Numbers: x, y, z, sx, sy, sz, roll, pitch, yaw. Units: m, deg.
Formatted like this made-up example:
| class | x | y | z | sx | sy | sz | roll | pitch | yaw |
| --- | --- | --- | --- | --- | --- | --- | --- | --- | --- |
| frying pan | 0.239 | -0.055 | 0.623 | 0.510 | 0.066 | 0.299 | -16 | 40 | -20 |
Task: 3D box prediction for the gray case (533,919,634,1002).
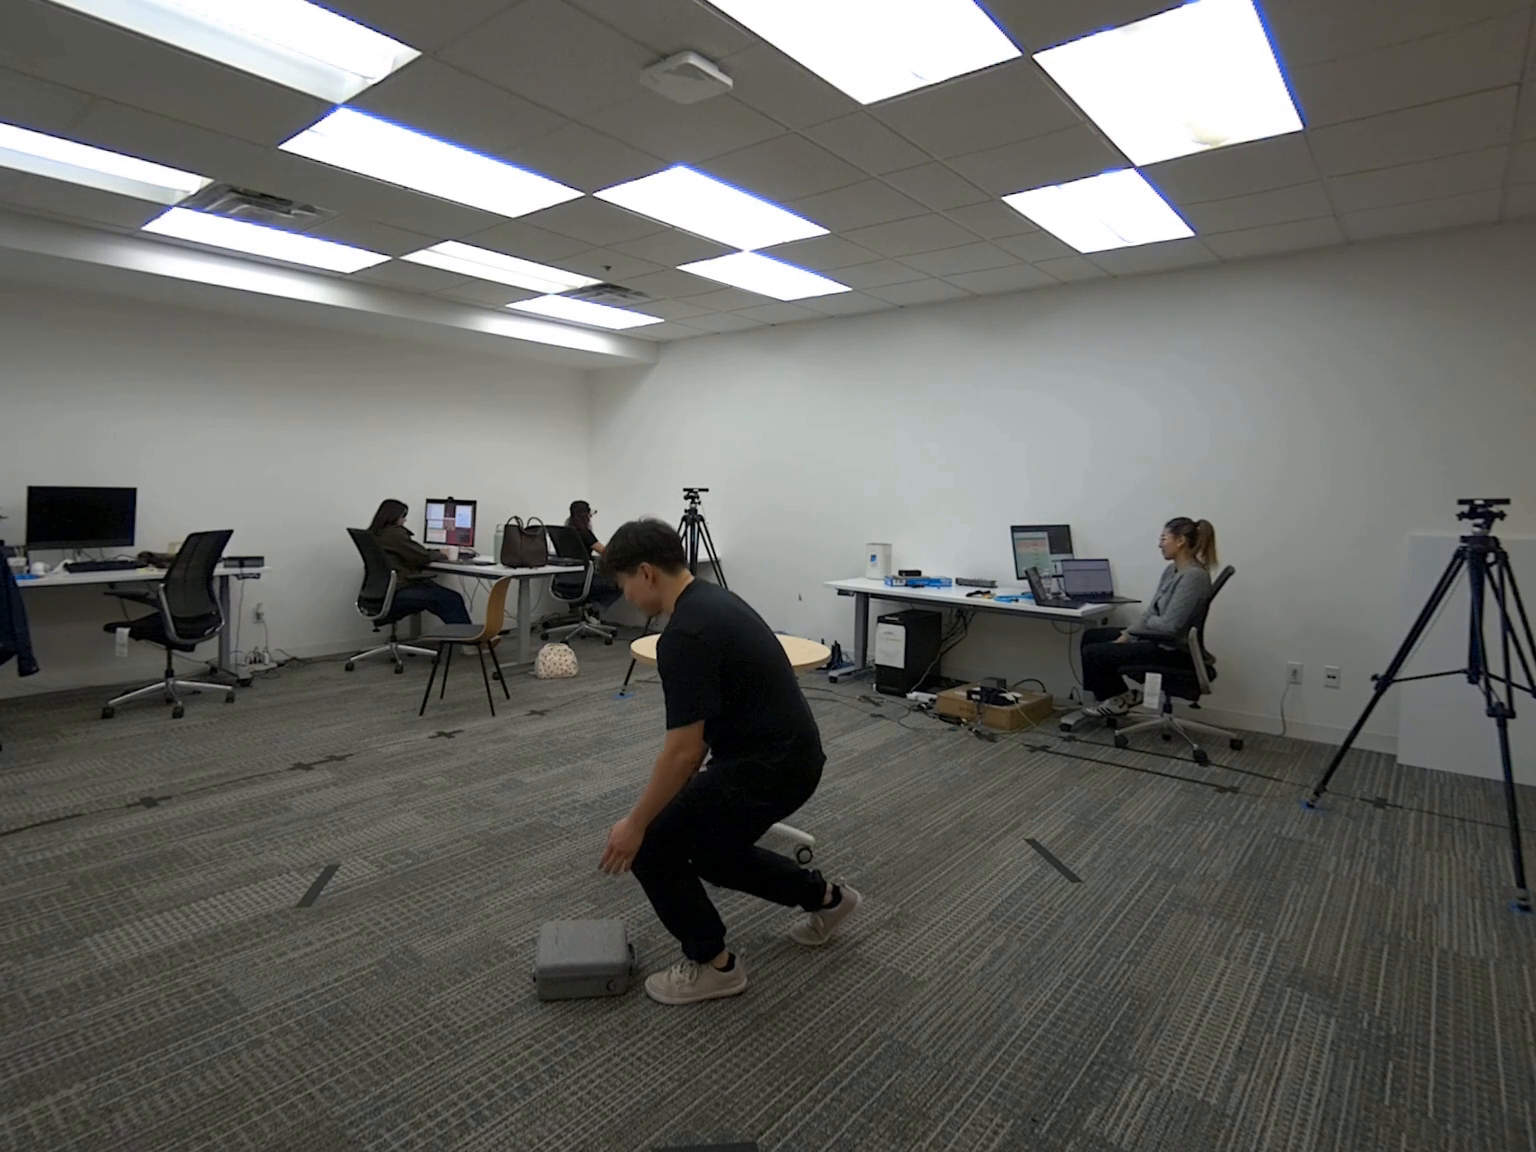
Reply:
| class | x | y | z | sx | sy | sz | roll | pitch | yaw |
| --- | --- | --- | --- | --- | --- | --- | --- | --- | --- |
| gray case | -0.538 | 1.078 | 2.415 | 0.258 | 0.104 | 0.261 | 0 | 6 | -11 |
